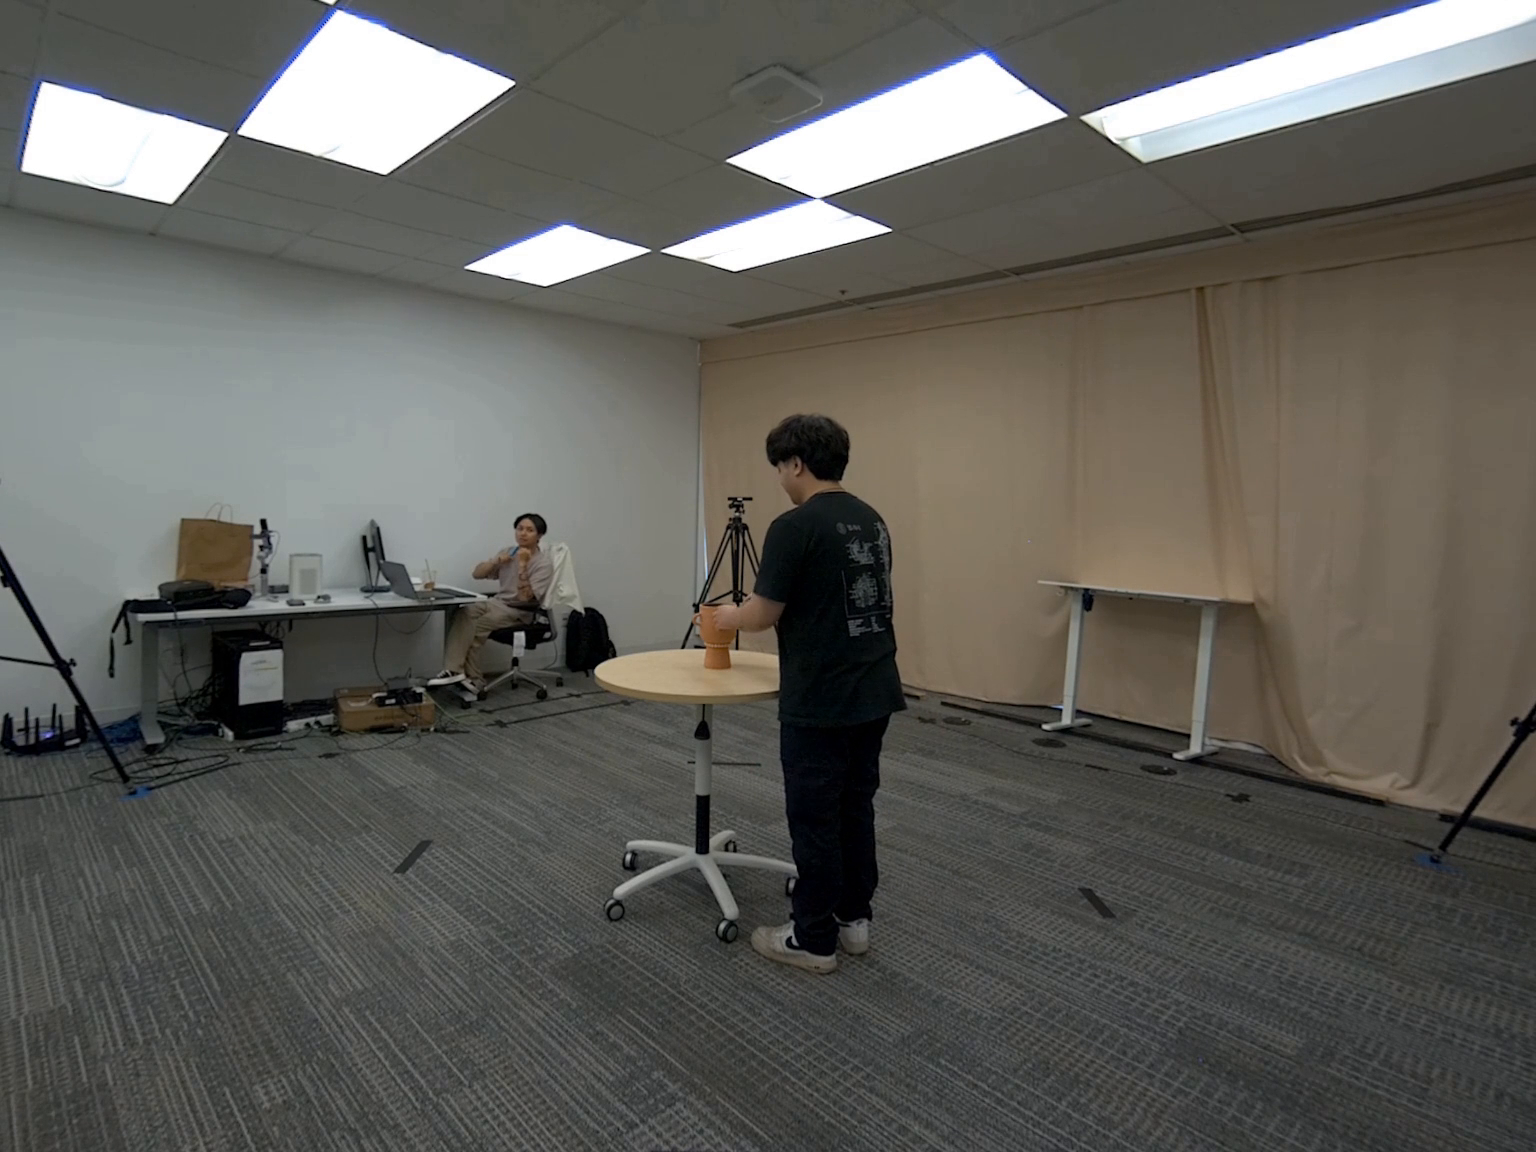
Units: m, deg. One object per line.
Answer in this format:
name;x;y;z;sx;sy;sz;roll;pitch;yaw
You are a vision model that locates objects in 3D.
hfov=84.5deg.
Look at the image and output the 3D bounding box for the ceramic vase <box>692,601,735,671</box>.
ceramic vase;-0.185;0.214;2.982;0.132;0.219;0.162;-2;8;-28
